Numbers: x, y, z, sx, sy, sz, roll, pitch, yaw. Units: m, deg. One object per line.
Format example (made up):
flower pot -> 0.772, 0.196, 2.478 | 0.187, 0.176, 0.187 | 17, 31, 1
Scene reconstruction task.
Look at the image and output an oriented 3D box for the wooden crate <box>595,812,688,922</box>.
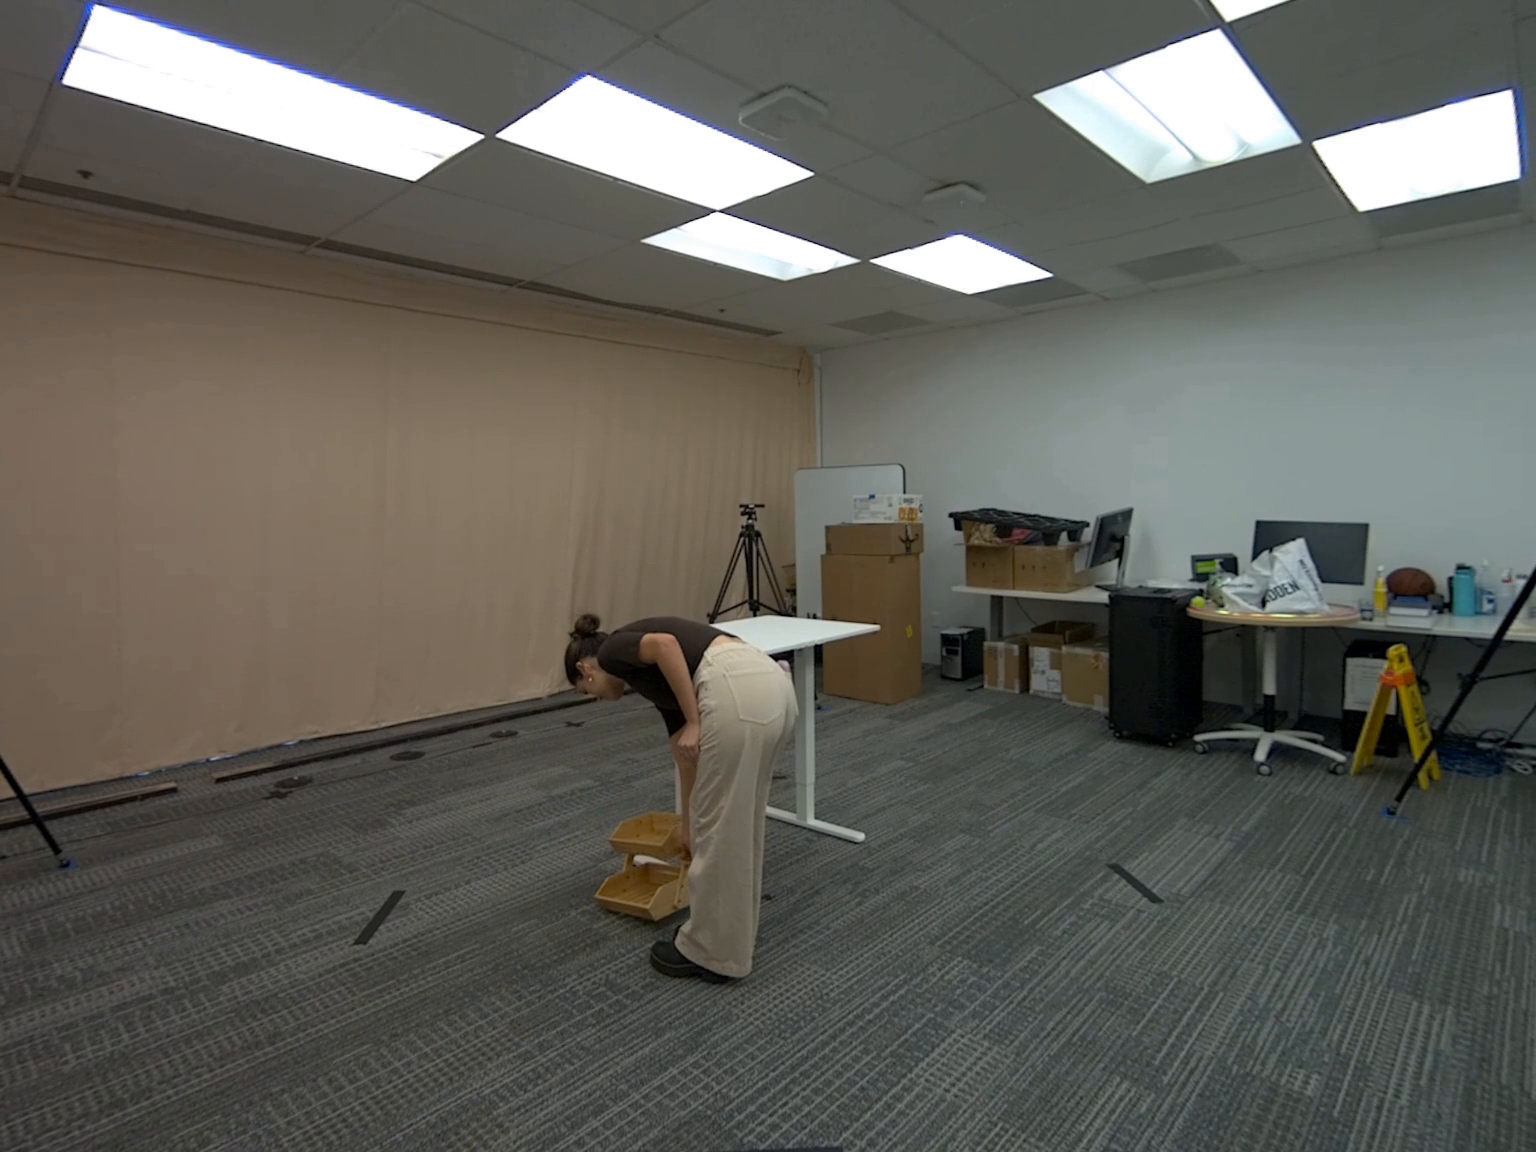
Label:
wooden crate -> -0.406, 0.998, 2.922 | 0.333, 0.274, 0.293 | -12, -5, 43
